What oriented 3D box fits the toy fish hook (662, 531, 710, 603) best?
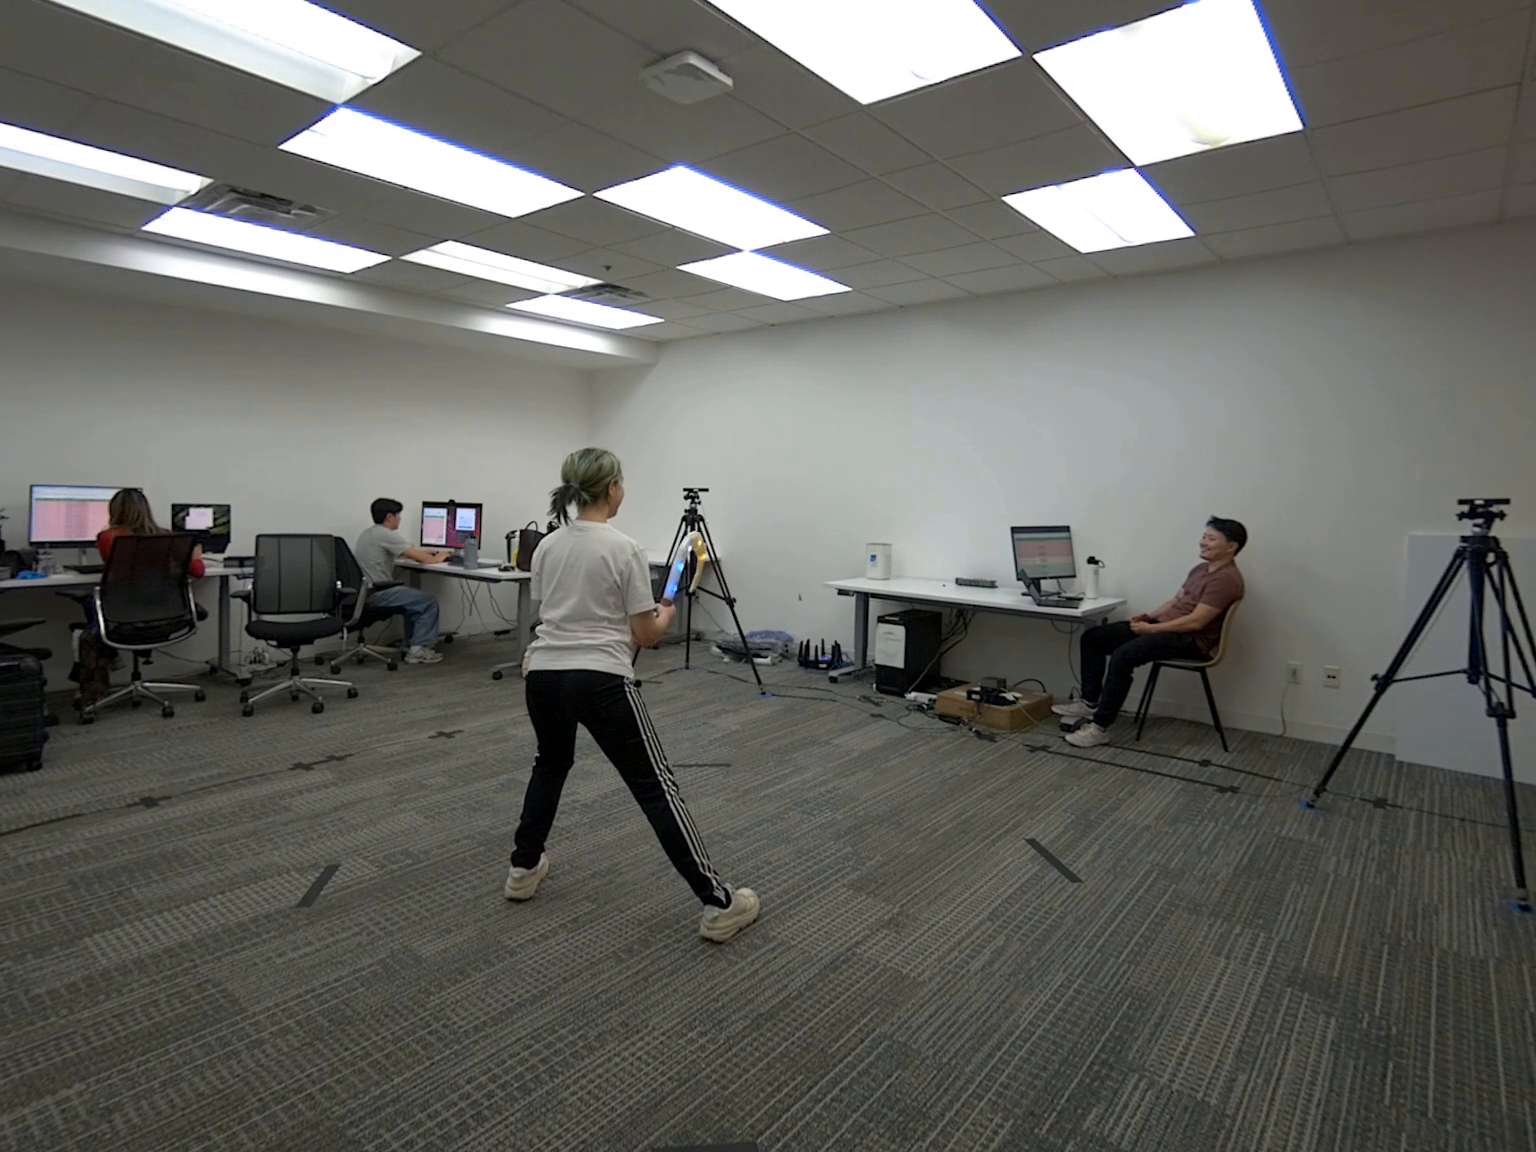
[{"bbox_3d":[-0.344,0.064,3.198,0.050,0.512,0.215,7,-30,27],"label":"toy fish hook"}]
